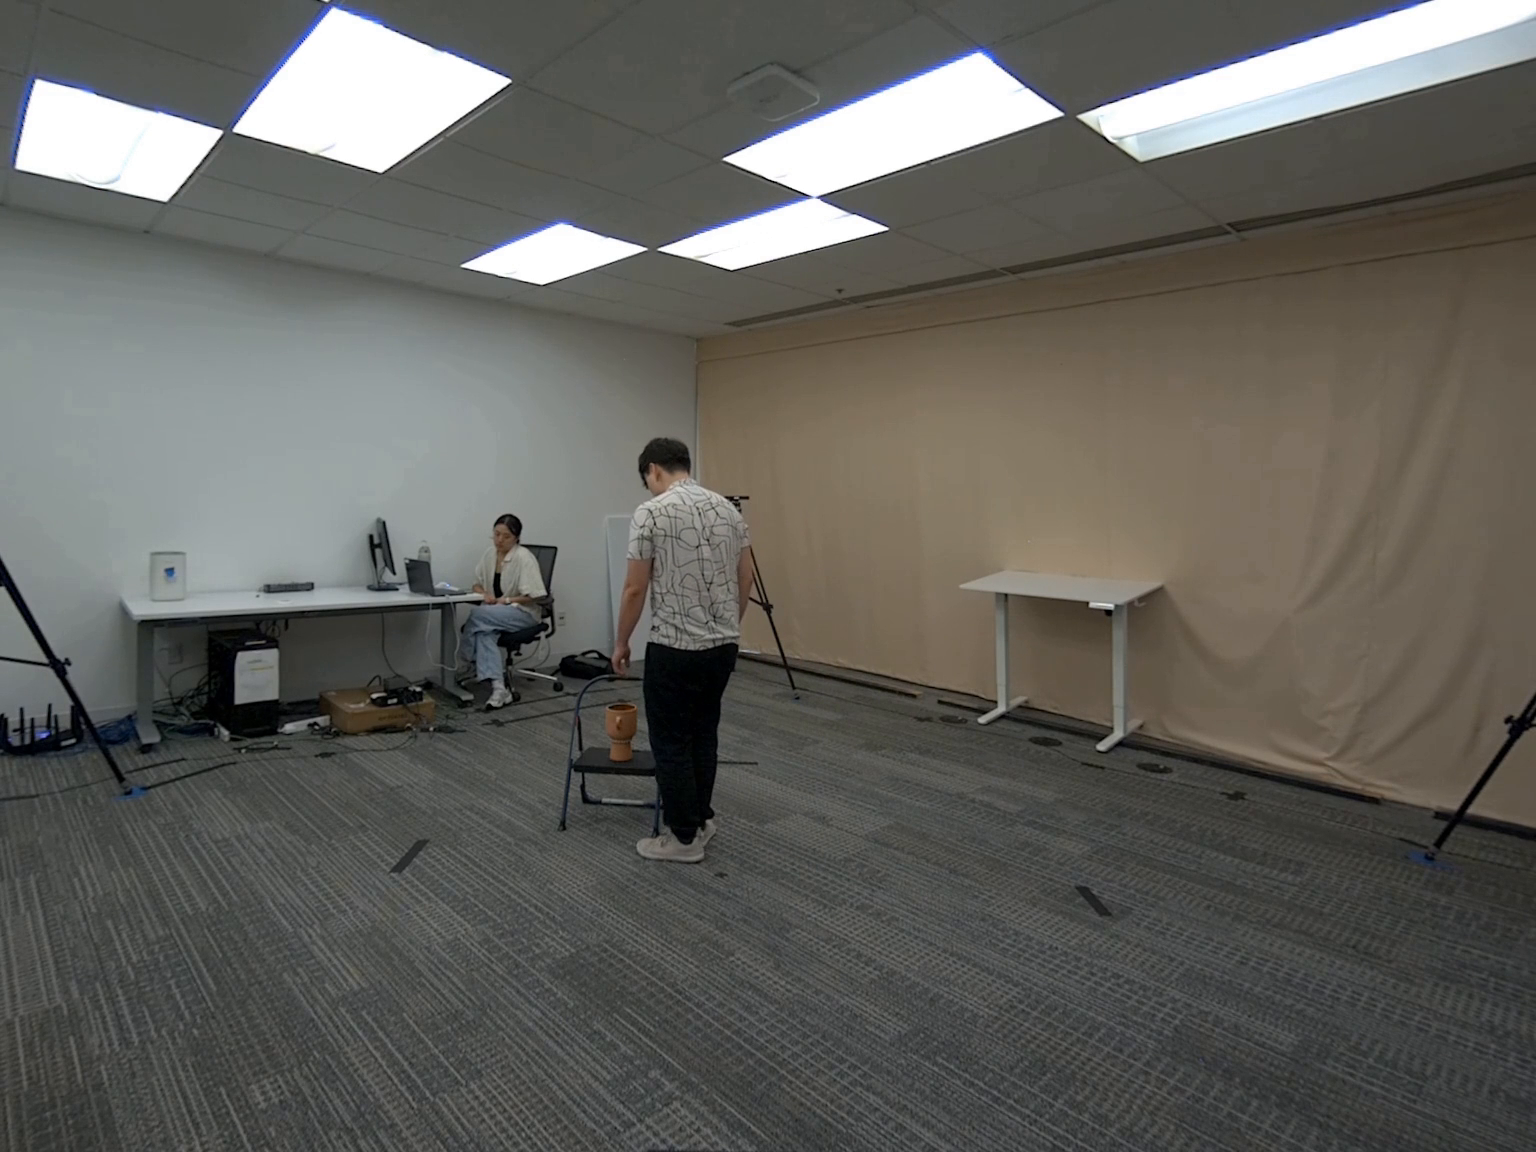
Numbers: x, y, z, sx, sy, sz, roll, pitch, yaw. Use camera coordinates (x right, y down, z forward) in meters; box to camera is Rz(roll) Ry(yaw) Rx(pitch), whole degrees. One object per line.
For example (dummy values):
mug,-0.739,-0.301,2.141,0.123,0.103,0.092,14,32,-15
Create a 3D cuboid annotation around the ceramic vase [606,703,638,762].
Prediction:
ceramic vase,-0.634,0.667,3.622,0.138,0.219,0.155,2,3,41
